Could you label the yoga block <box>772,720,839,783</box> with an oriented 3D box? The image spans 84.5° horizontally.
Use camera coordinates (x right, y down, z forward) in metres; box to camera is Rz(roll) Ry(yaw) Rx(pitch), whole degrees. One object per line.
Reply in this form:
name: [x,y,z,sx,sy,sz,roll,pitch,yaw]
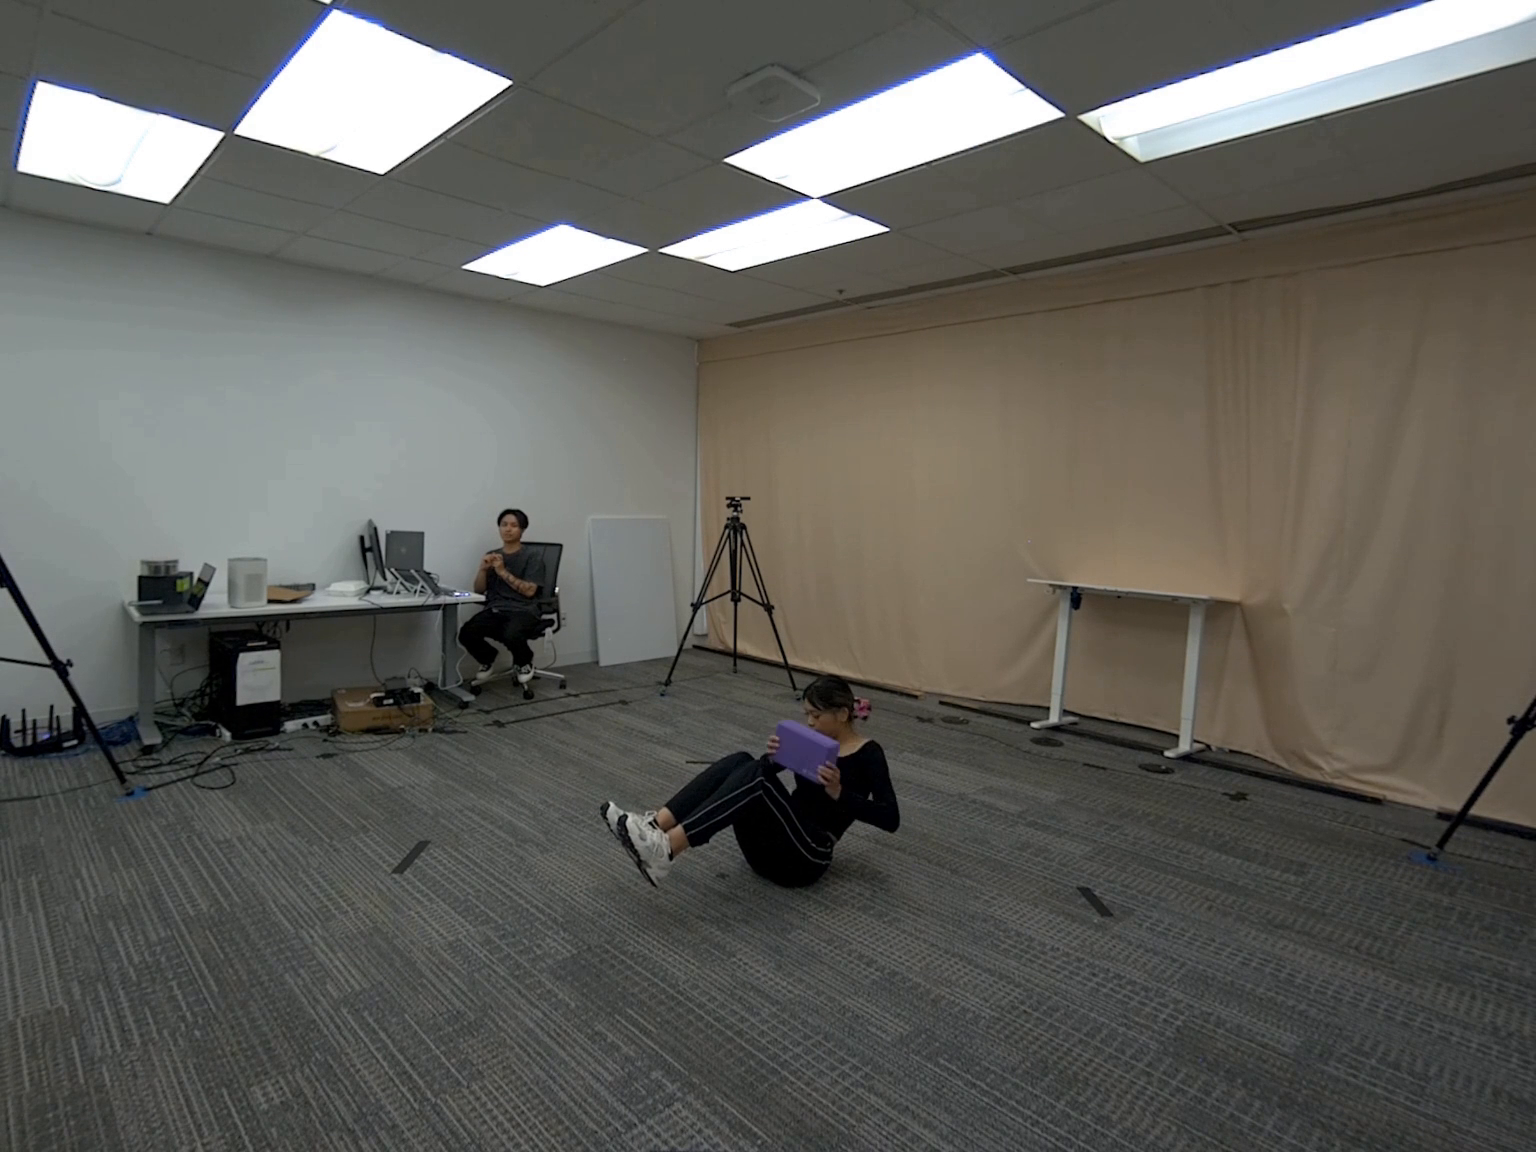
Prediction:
yoga block: [0.124,0.622,2.957,0.236,0.148,0.074,18,10,36]
